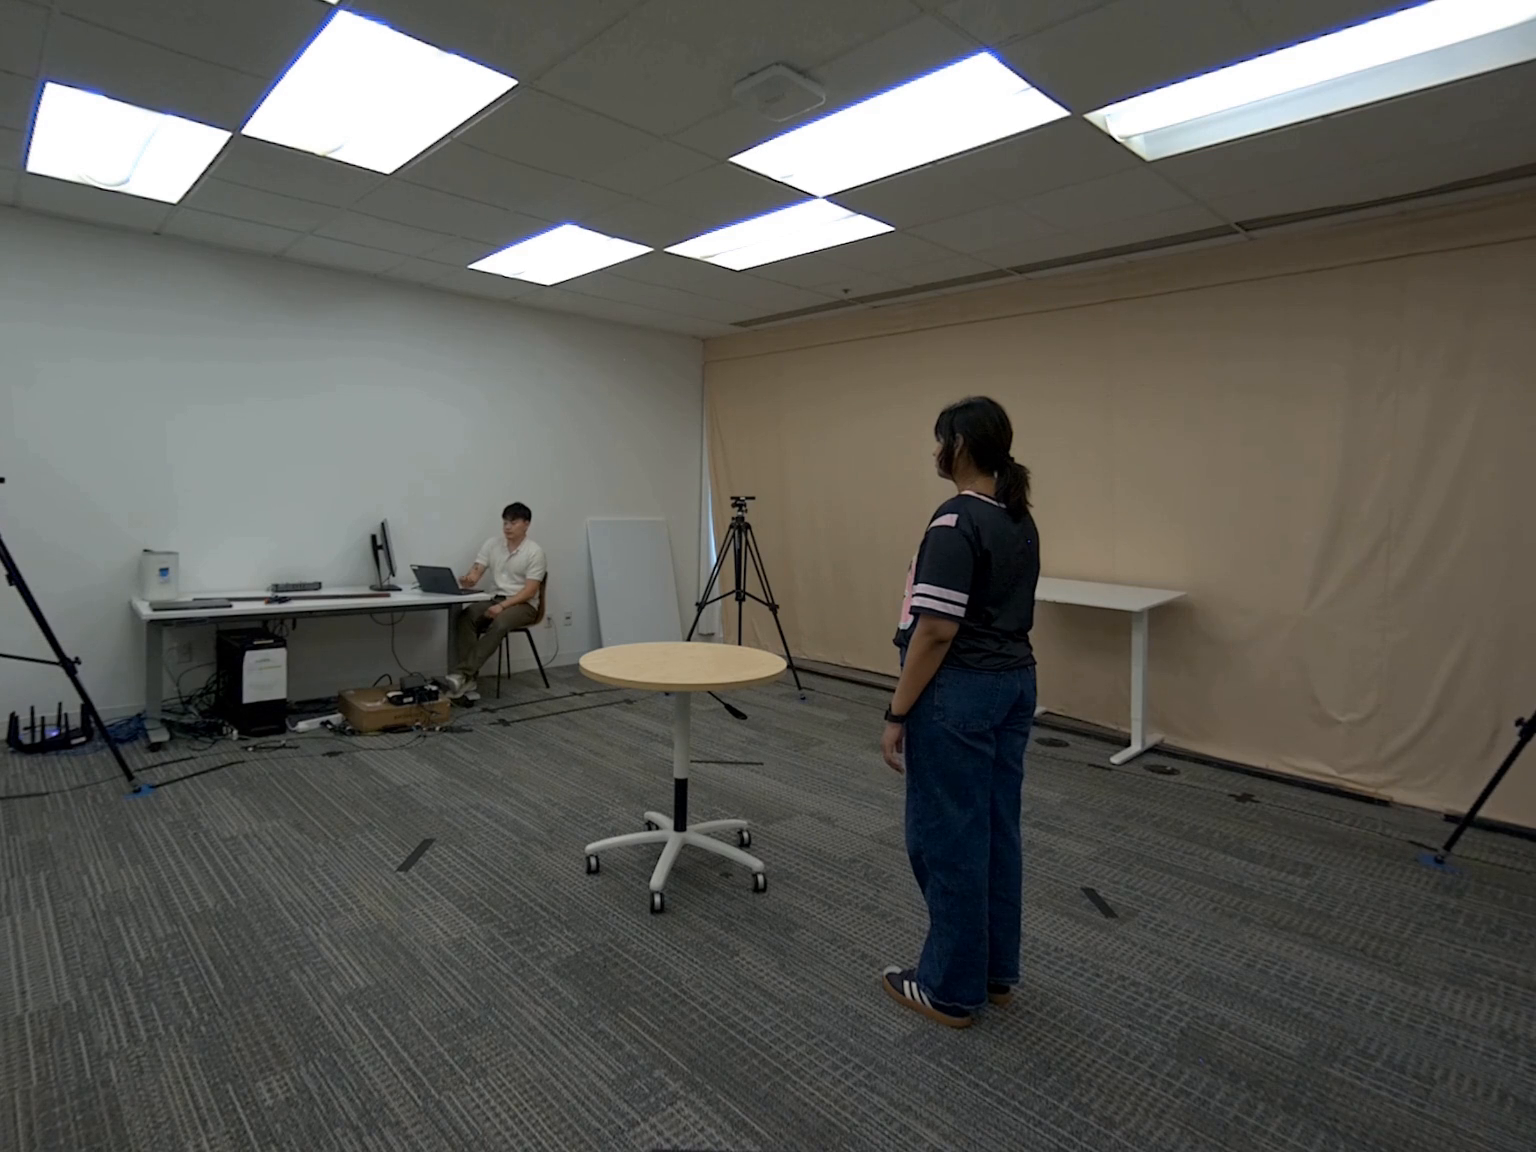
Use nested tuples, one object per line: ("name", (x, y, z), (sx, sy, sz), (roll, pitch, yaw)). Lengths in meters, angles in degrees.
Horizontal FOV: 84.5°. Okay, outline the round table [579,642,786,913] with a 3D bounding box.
("round table", (-0.331, 0.704, 3.158), (0.784, 0.784, 0.788), (2, 4, -1))
